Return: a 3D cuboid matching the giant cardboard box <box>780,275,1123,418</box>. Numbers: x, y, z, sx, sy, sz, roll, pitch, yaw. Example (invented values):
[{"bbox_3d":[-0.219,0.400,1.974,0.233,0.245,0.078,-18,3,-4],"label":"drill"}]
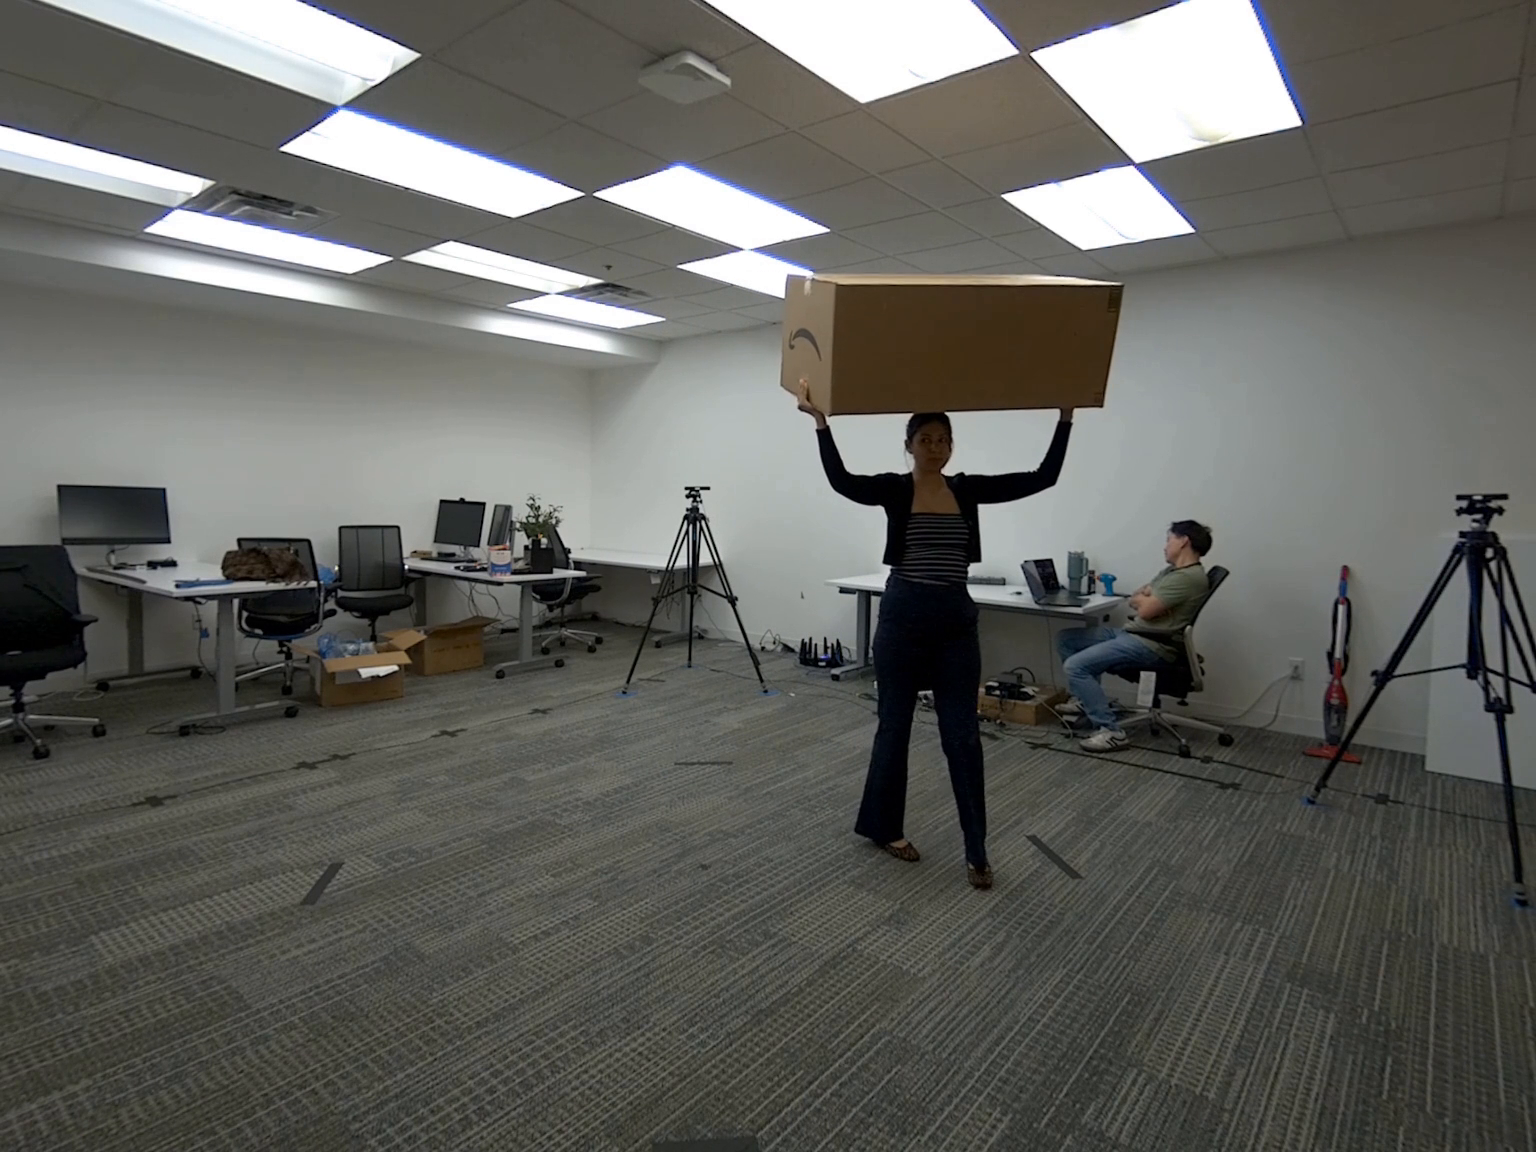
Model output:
[{"bbox_3d":[0.615,-0.858,3.082,1.013,0.418,0.596,-5,22,-12],"label":"giant cardboard box"}]
